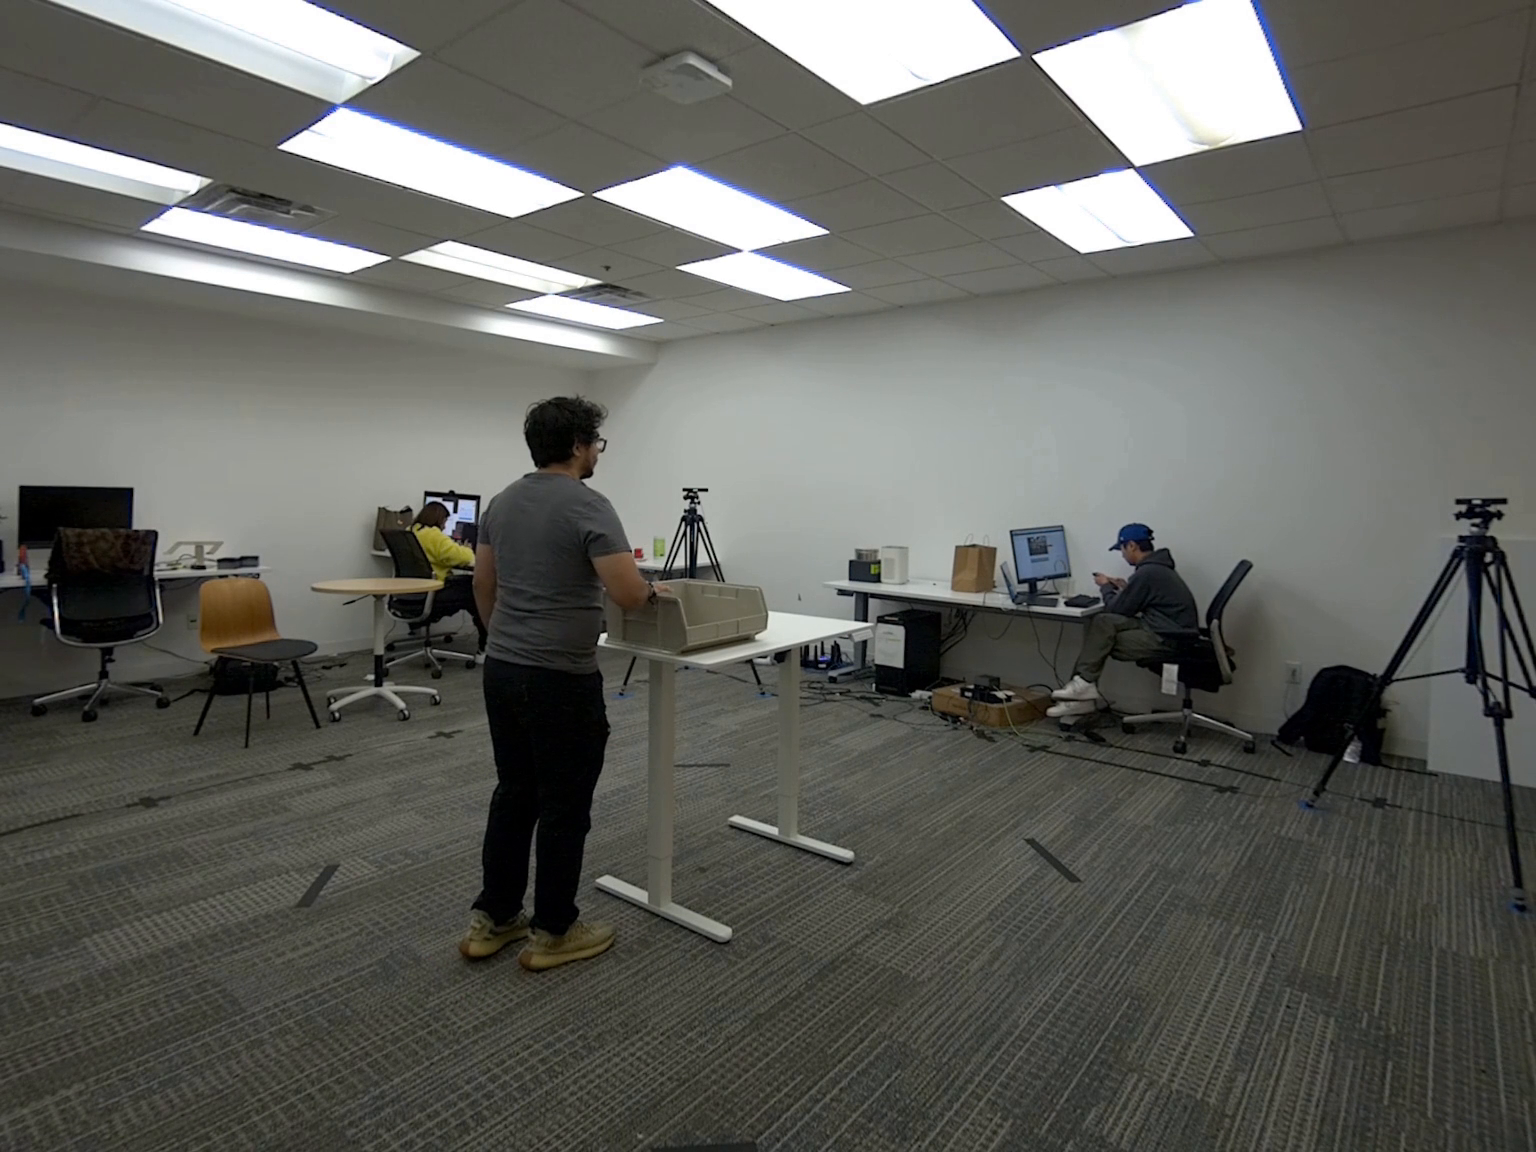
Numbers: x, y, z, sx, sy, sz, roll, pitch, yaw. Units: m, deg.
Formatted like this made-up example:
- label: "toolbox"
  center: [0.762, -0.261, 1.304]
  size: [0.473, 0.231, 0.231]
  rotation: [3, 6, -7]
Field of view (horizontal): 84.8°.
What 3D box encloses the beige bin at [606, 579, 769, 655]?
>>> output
- label: "beige bin"
  center: [-0.277, 0.127, 2.813]
  size: [0.389, 0.188, 0.410]
  rotation: [3, 6, 38]
